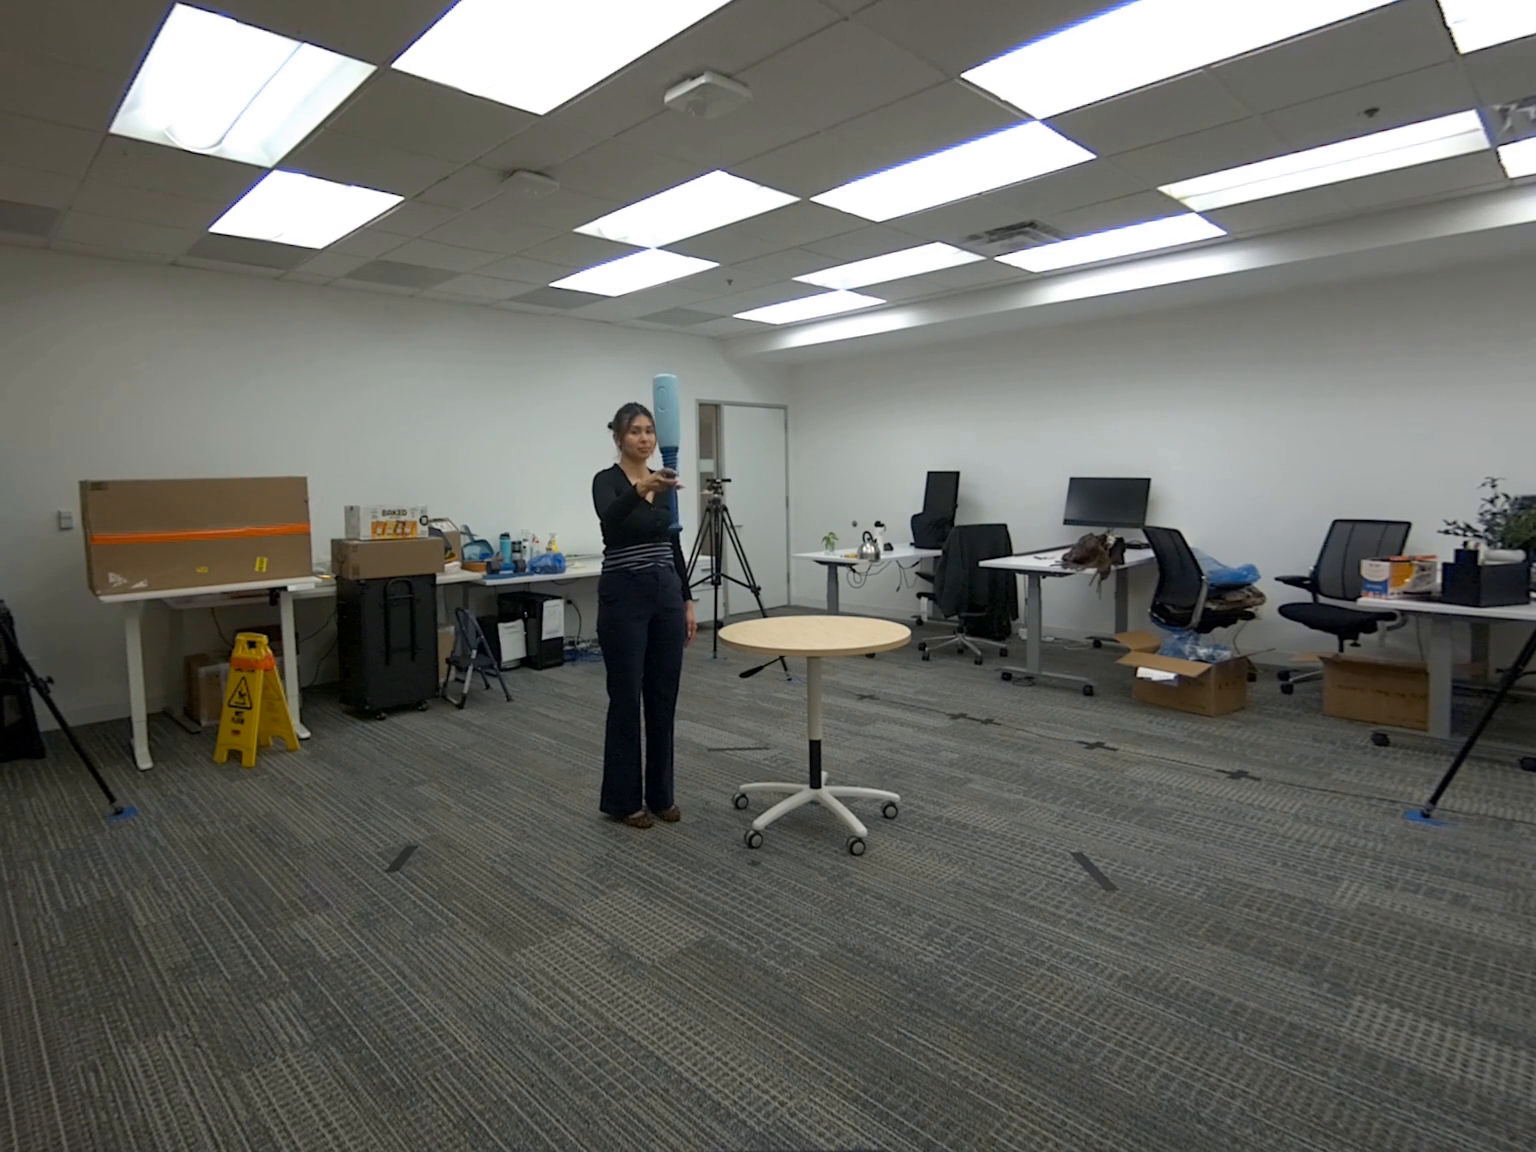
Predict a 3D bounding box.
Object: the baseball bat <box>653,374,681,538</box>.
[{"bbox_3d":[-0.336,-0.416,2.932,0.089,0.544,0.089,-4,-1,-2],"label":"baseball bat"}]
